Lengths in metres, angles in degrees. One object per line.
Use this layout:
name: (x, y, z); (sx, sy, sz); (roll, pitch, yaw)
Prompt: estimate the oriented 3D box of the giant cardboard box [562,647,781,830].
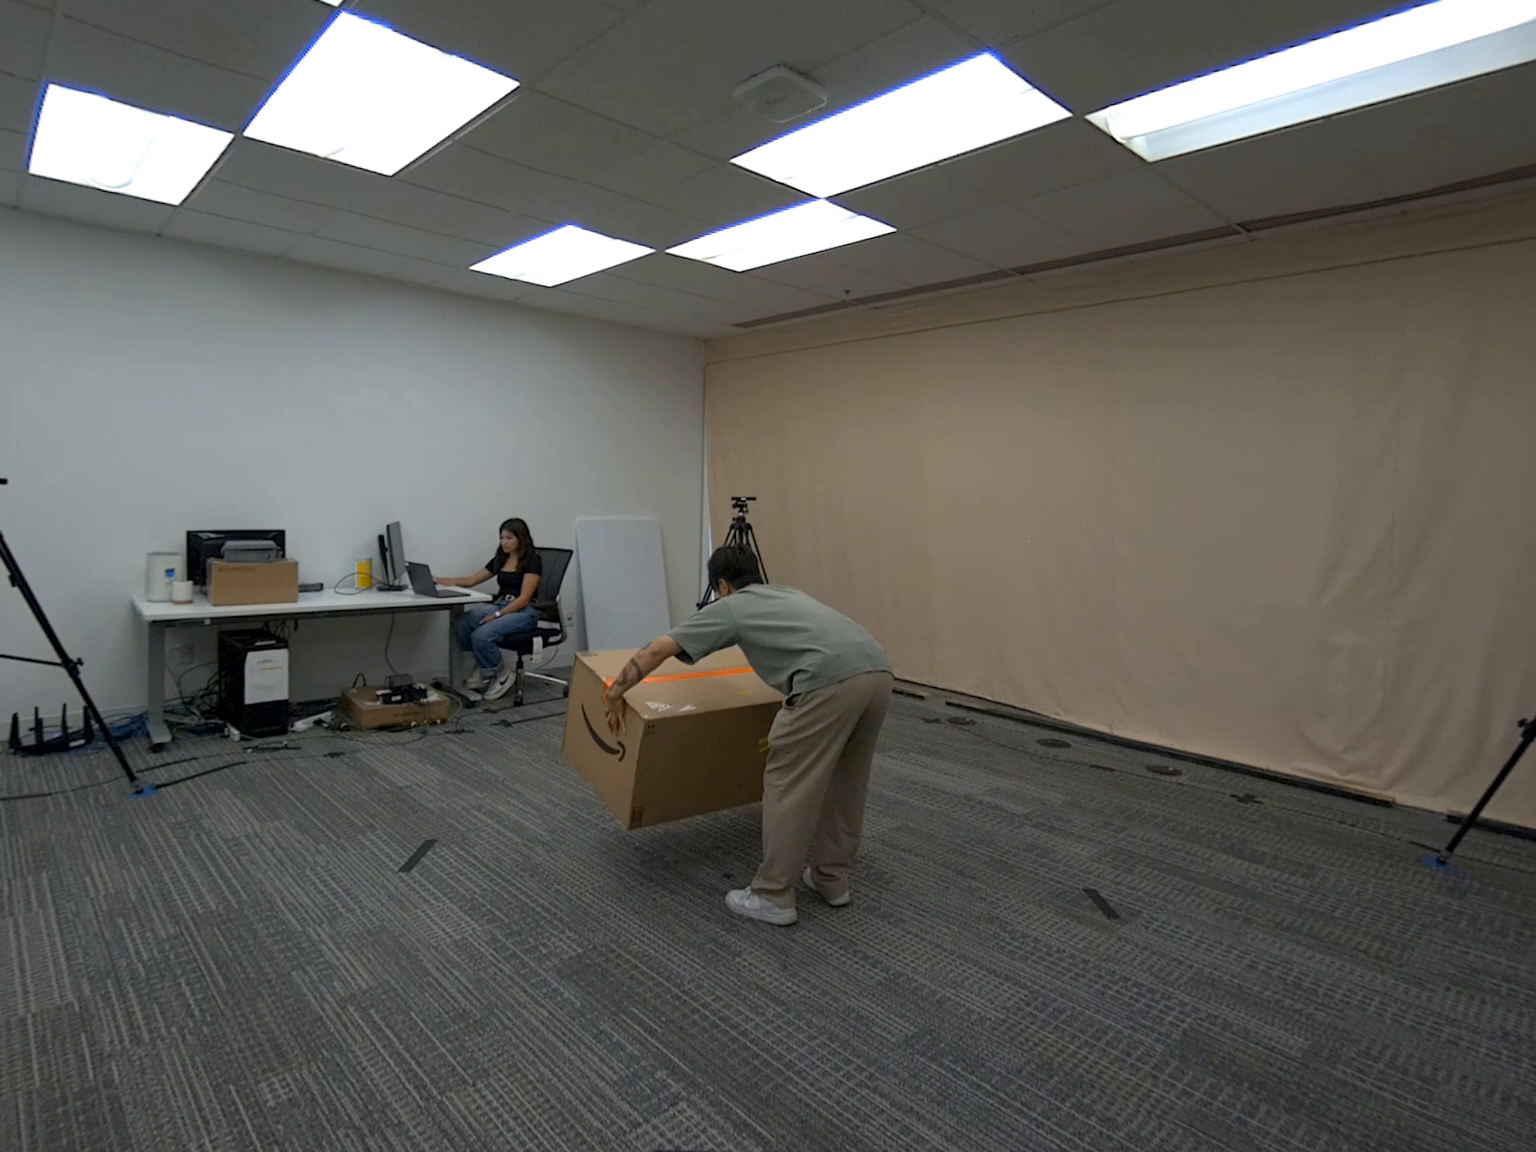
giant cardboard box: (-0.212, 0.561, 3.334); (1.003, 0.422, 0.595); (-2, 19, -35)
